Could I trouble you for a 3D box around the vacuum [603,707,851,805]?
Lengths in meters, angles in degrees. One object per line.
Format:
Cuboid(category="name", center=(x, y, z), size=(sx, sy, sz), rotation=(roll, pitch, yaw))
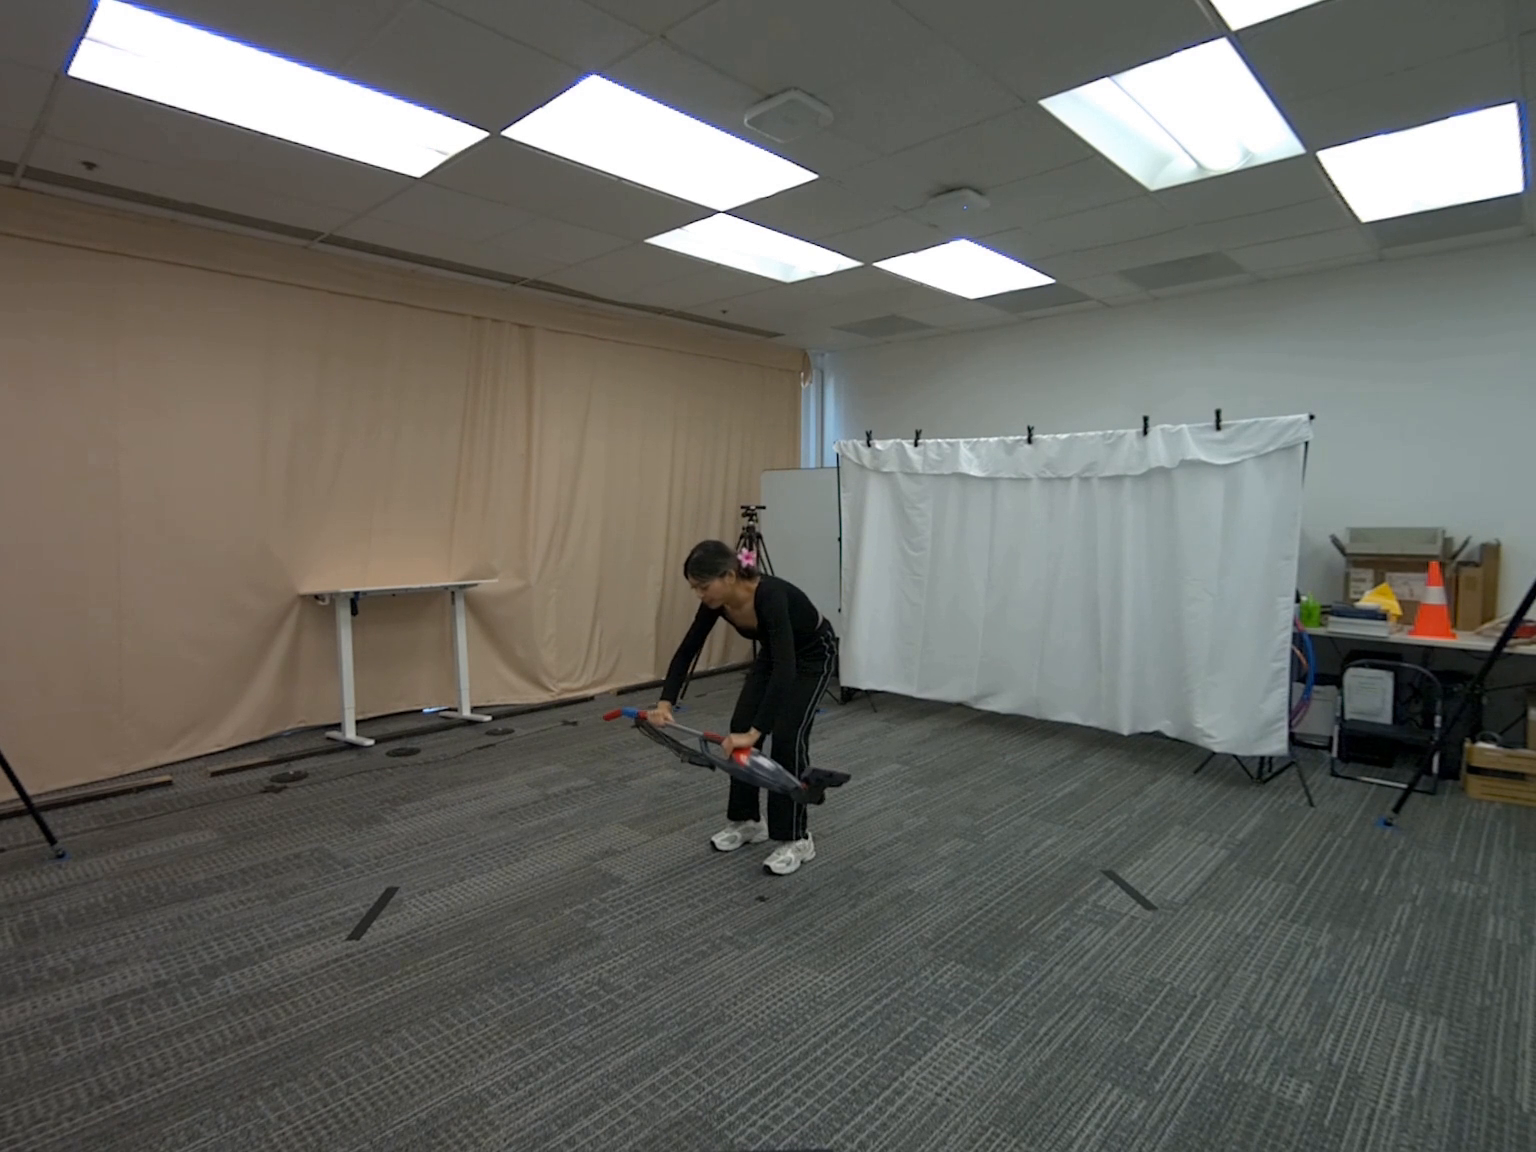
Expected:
Cuboid(category="vacuum", center=(-0.233, 0.624, 3.059), size=(1.085, 0.144, 0.243), rotation=(8, -12, 40))
